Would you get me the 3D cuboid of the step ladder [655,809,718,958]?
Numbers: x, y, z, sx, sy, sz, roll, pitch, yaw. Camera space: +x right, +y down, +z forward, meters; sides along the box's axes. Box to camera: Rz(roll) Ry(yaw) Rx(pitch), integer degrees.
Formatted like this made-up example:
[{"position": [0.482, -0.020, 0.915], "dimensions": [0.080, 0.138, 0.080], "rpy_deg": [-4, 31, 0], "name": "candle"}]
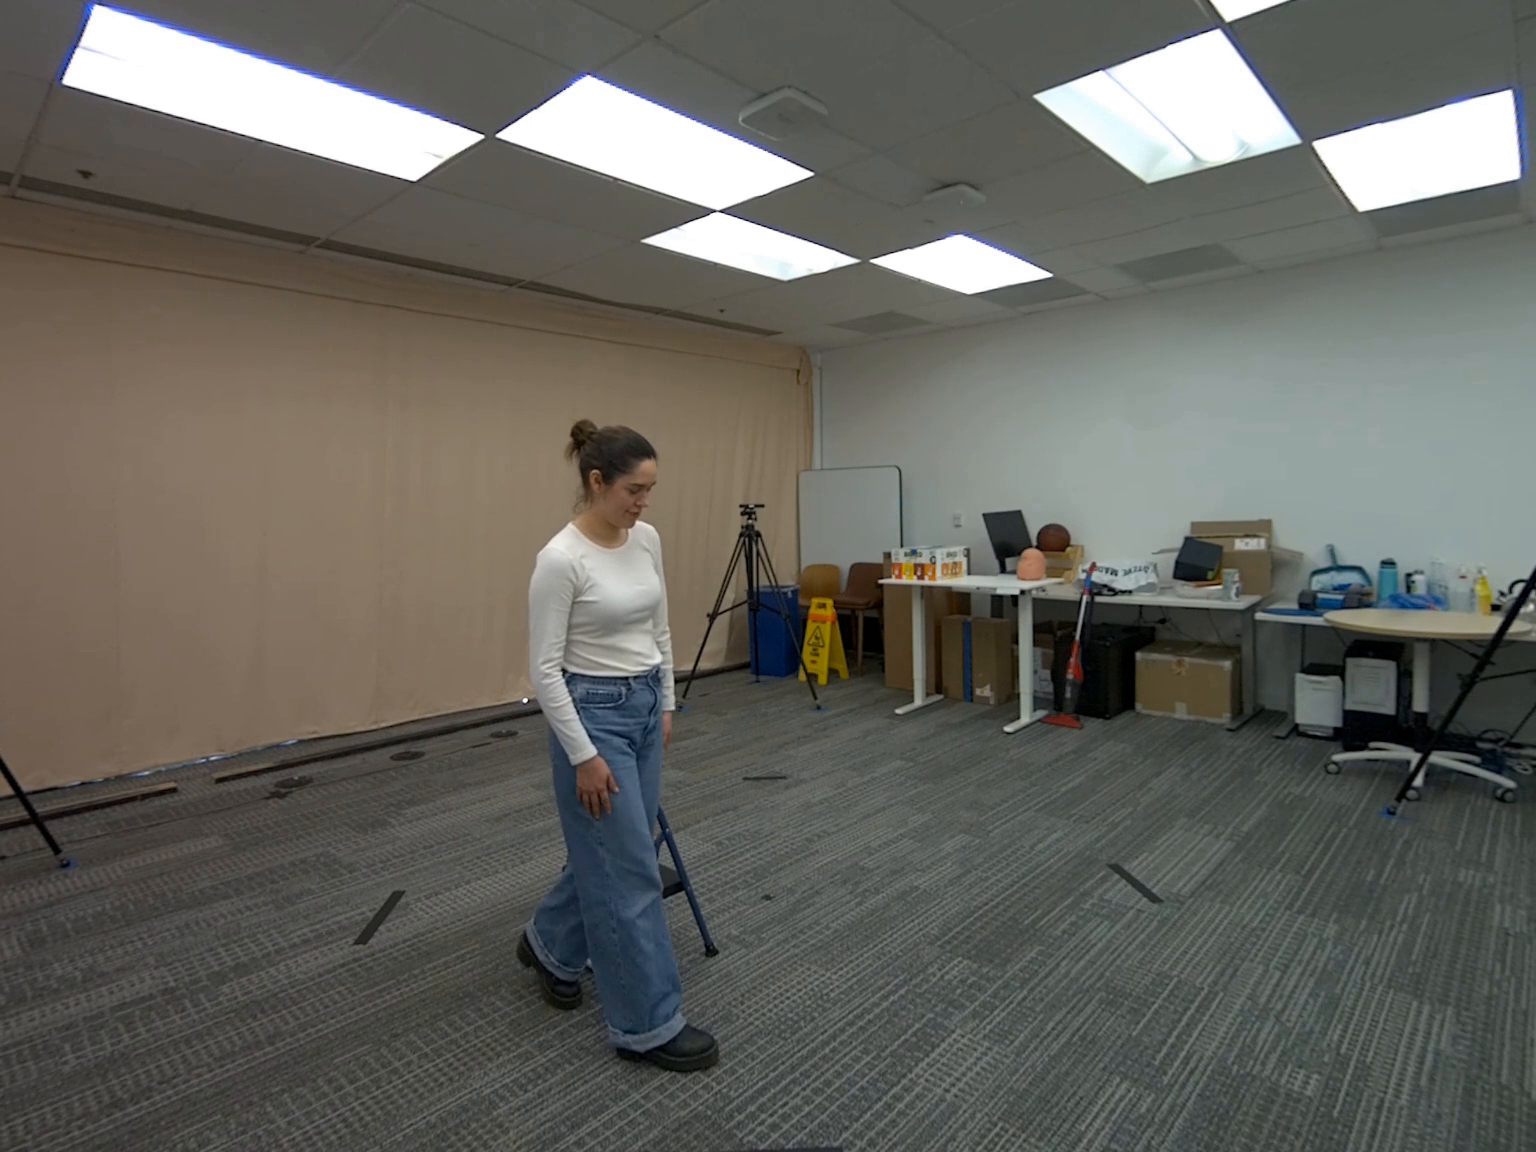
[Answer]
[{"position": [-0.430, 0.877, 2.634], "dimensions": [0.445, 0.605, 0.339], "rpy_deg": [2, 5, 43], "name": "step ladder"}]
